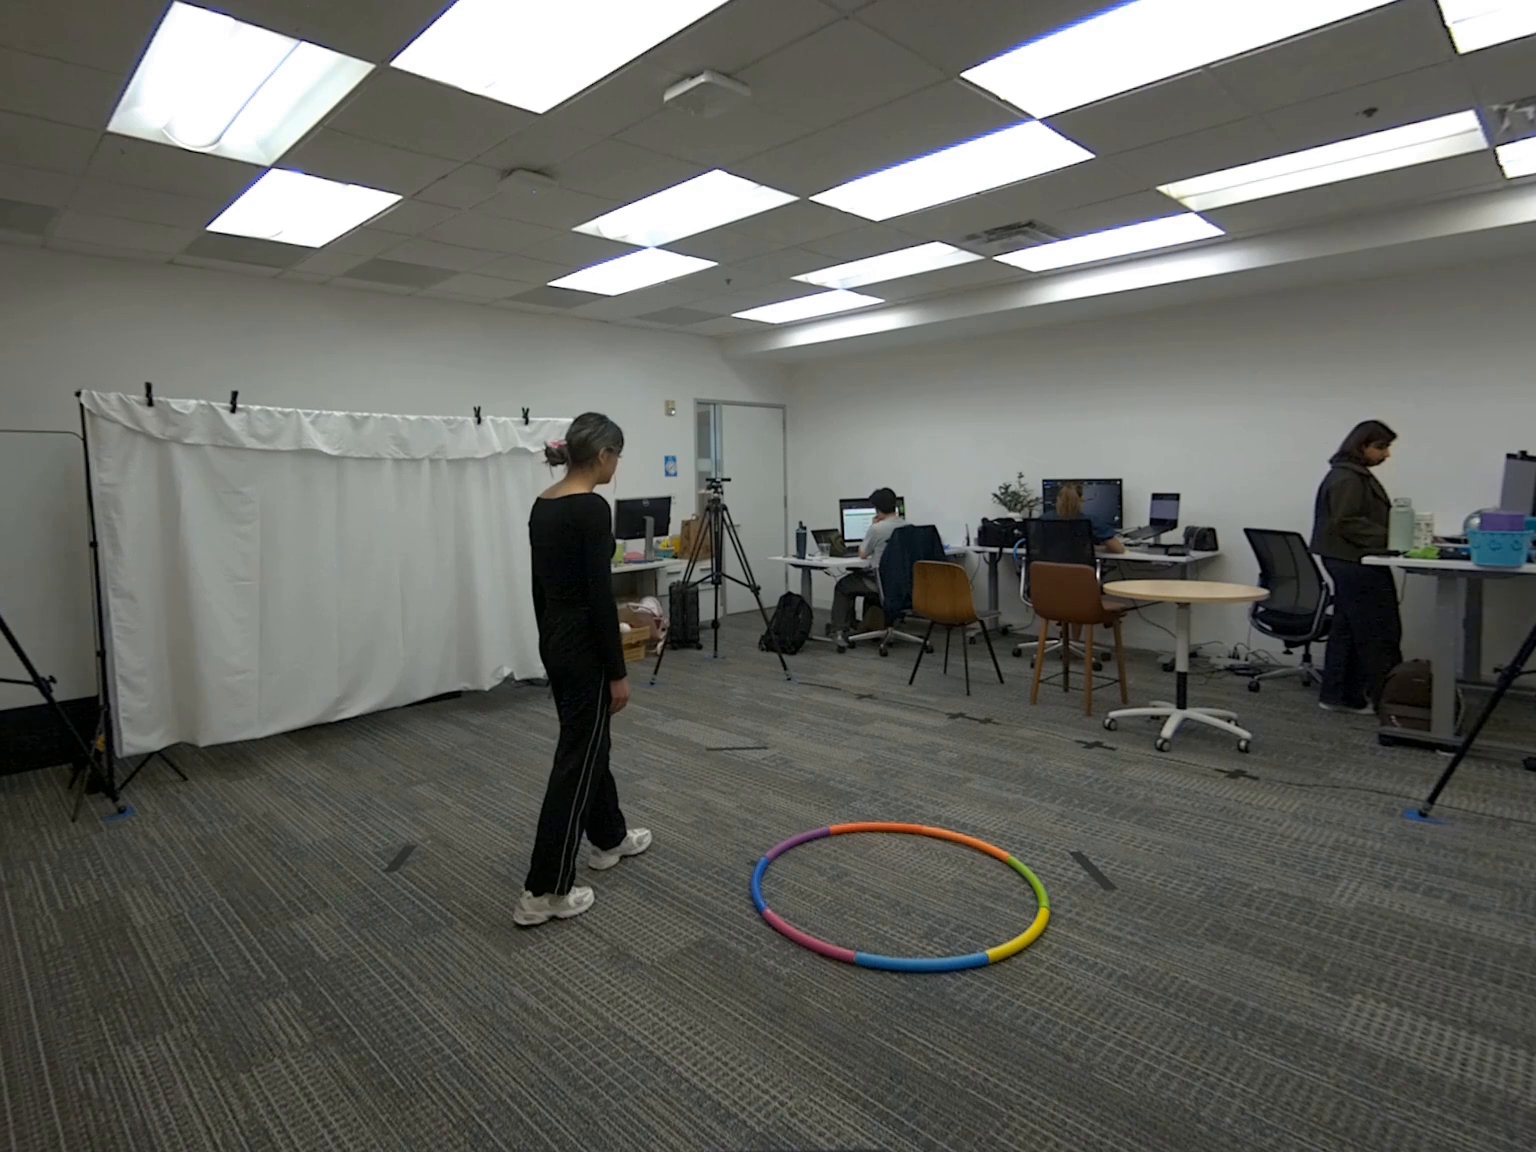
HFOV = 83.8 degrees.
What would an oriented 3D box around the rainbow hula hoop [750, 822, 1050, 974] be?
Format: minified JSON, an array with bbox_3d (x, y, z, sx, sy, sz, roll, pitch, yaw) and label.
[{"bbox_3d":[0.426,1.028,2.891,0.978,0.035,0.984,-1,6,-2],"label":"rainbow hula hoop"}]
